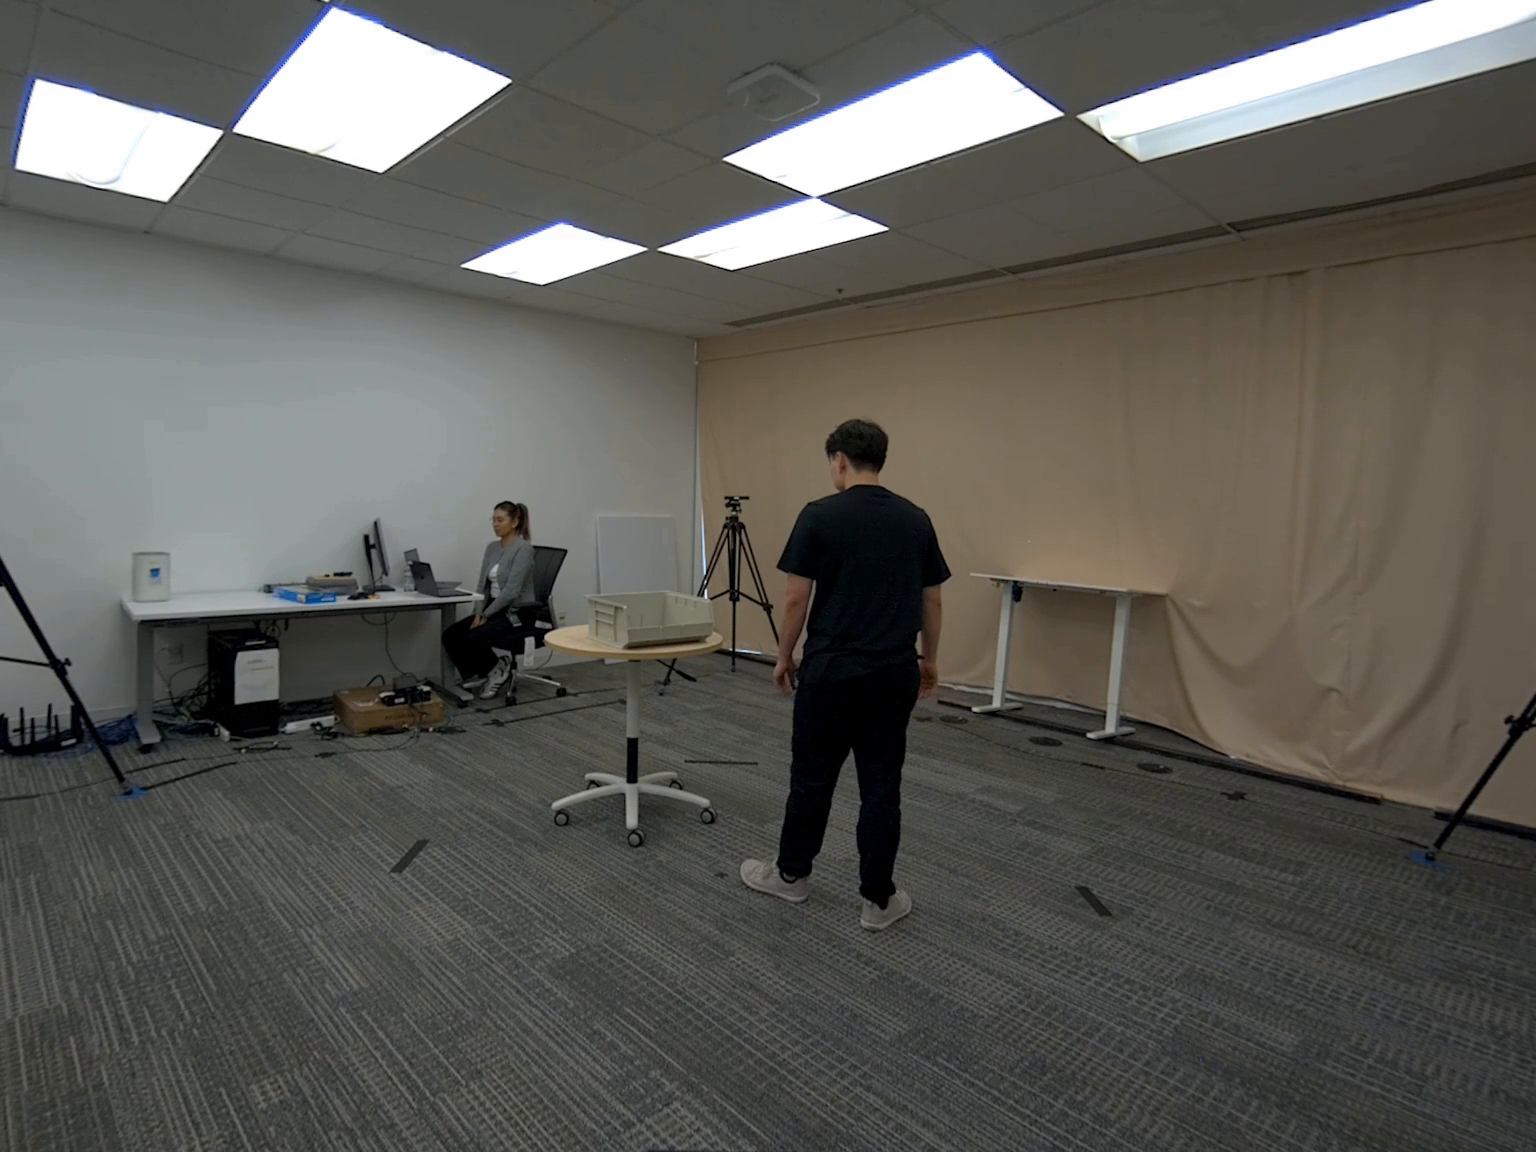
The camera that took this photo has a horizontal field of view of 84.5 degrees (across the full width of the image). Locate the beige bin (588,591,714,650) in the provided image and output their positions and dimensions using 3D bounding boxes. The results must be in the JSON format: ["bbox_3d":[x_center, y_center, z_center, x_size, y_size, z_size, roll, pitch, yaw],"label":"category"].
[{"bbox_3d":[-0.508,0.185,3.559,0.413,0.188,0.387,-3,6,-37],"label":"beige bin"}]
